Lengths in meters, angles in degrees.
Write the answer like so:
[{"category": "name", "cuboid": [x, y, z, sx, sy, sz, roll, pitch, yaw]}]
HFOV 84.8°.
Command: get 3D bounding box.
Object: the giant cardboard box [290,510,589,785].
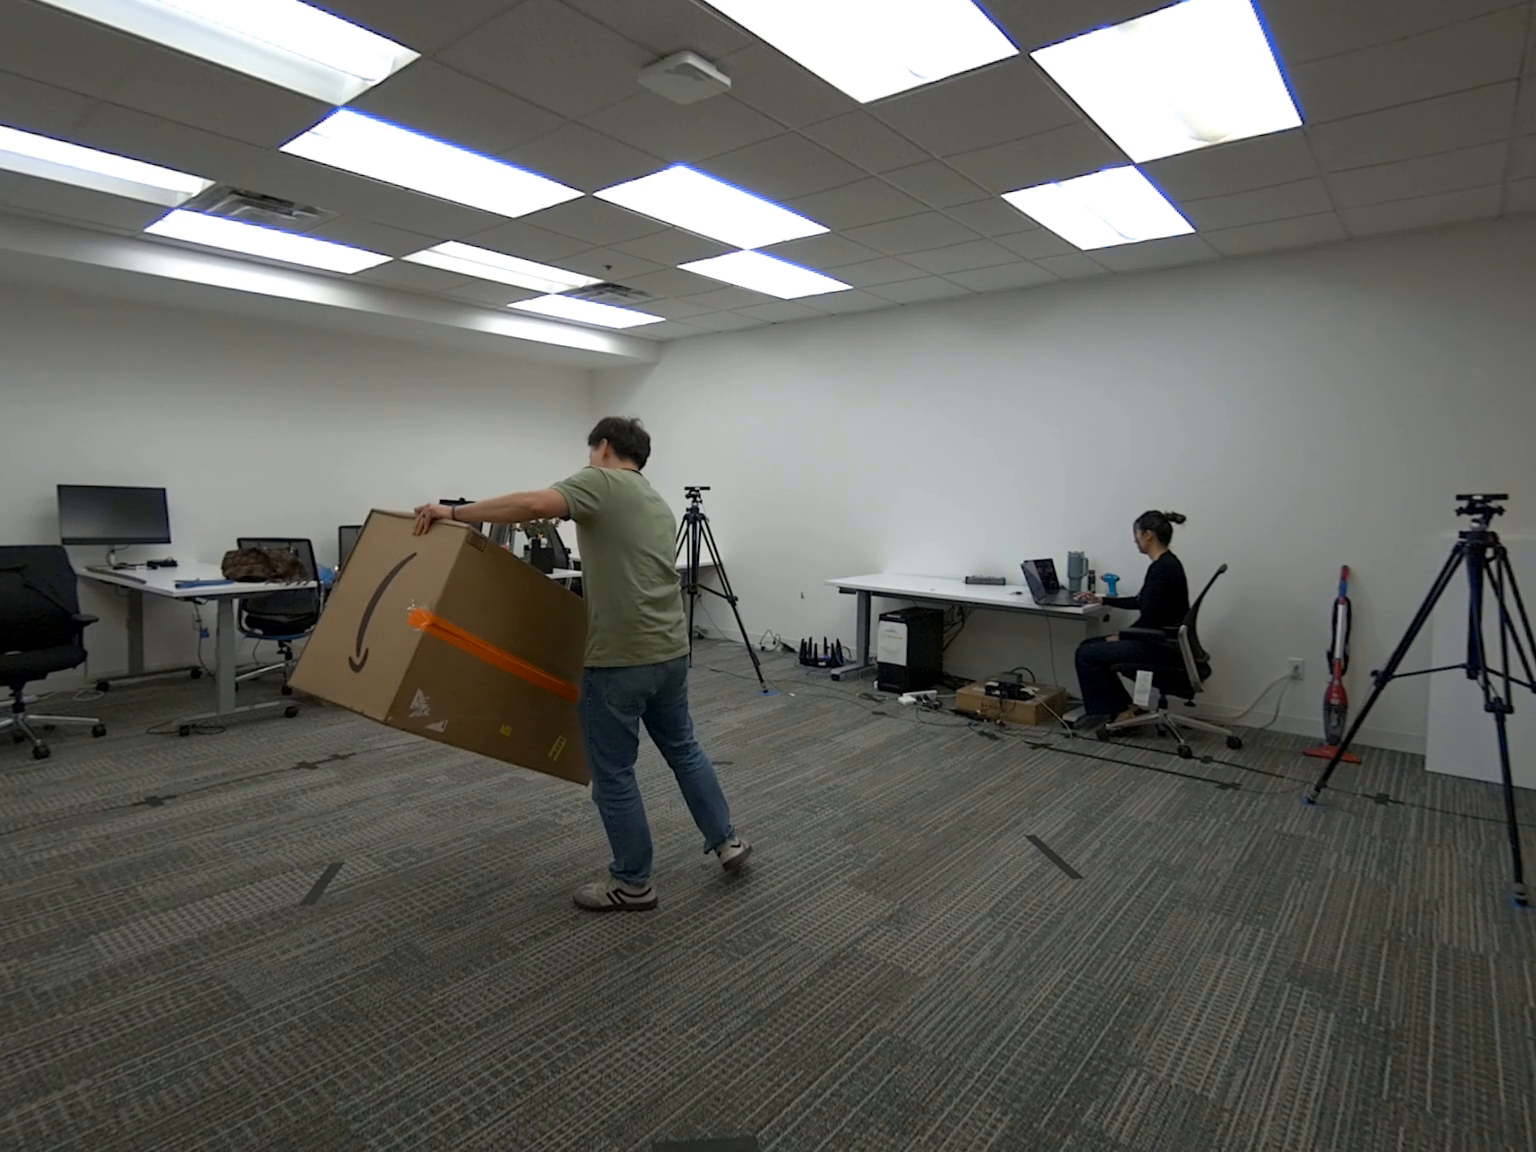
[{"category": "giant cardboard box", "cuboid": [-0.929, 0.277, 2.829, 0.439, 0.583, 0.986, 10, -18, 27]}]
